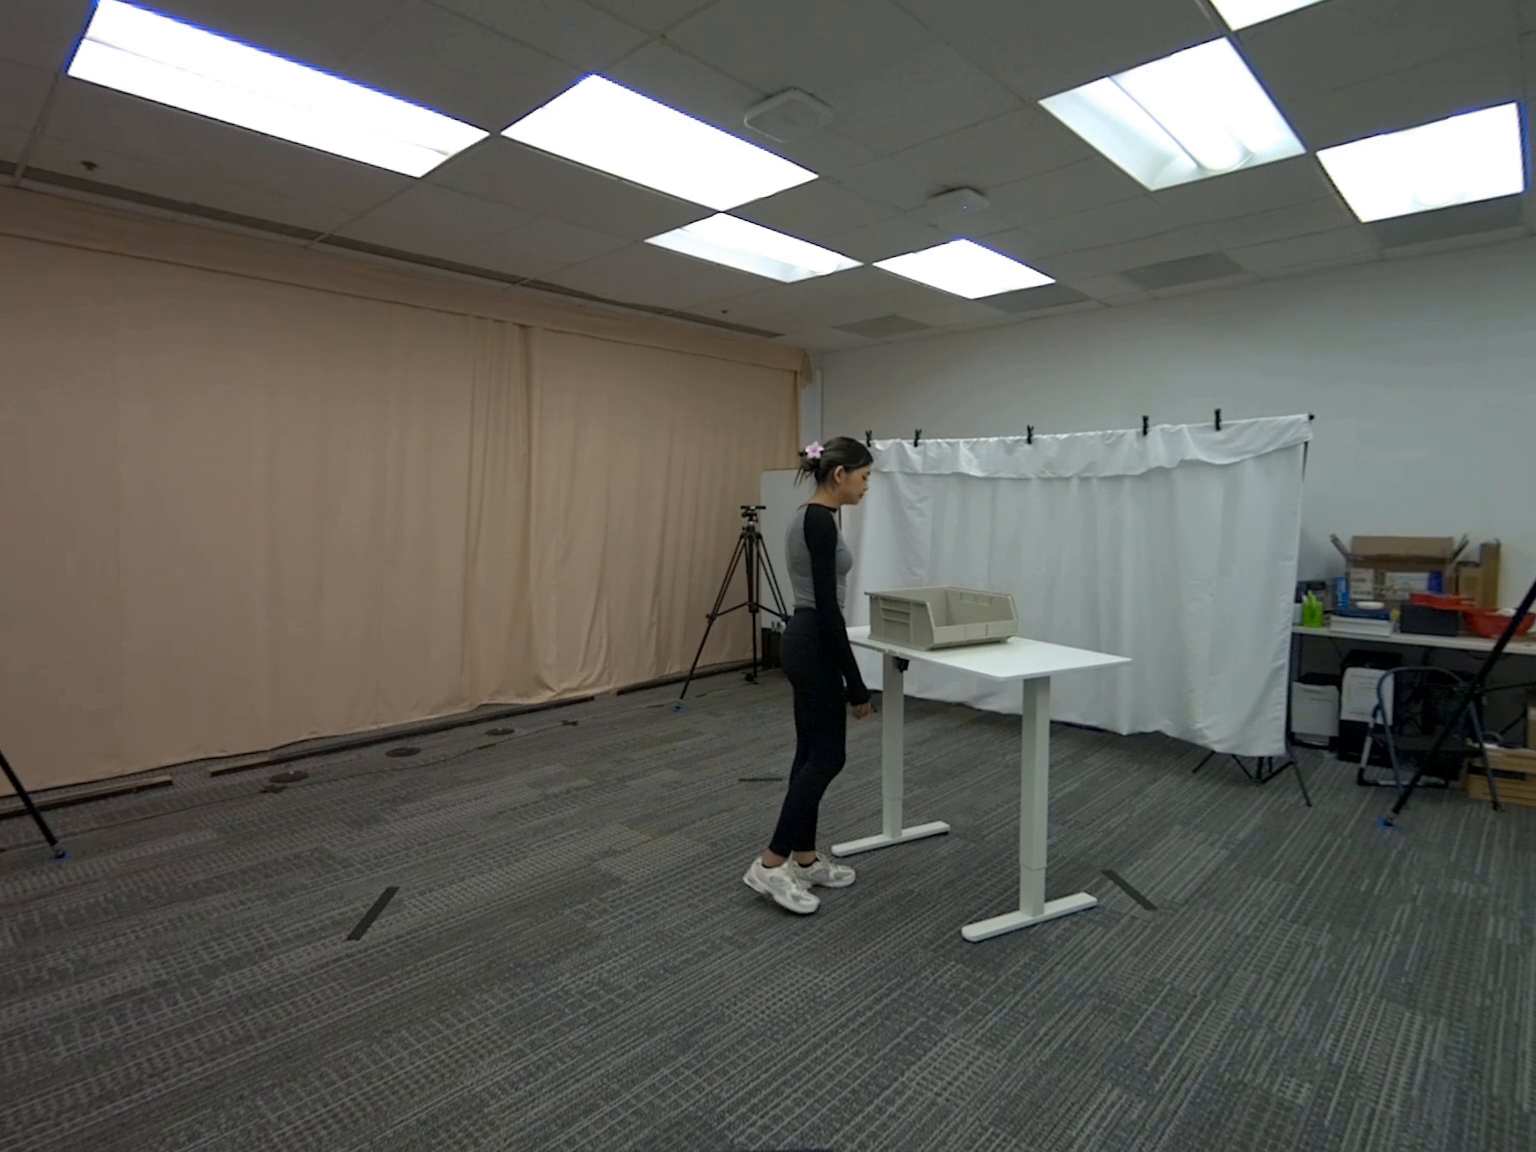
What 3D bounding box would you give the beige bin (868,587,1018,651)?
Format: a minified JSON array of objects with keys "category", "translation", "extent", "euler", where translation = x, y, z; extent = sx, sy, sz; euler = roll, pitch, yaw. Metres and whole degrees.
[{"category":"beige bin","translation":[0.653,0.160,3.142],"extent":[0.411,0.188,0.388],"euler":[-4,5,-29]}]
